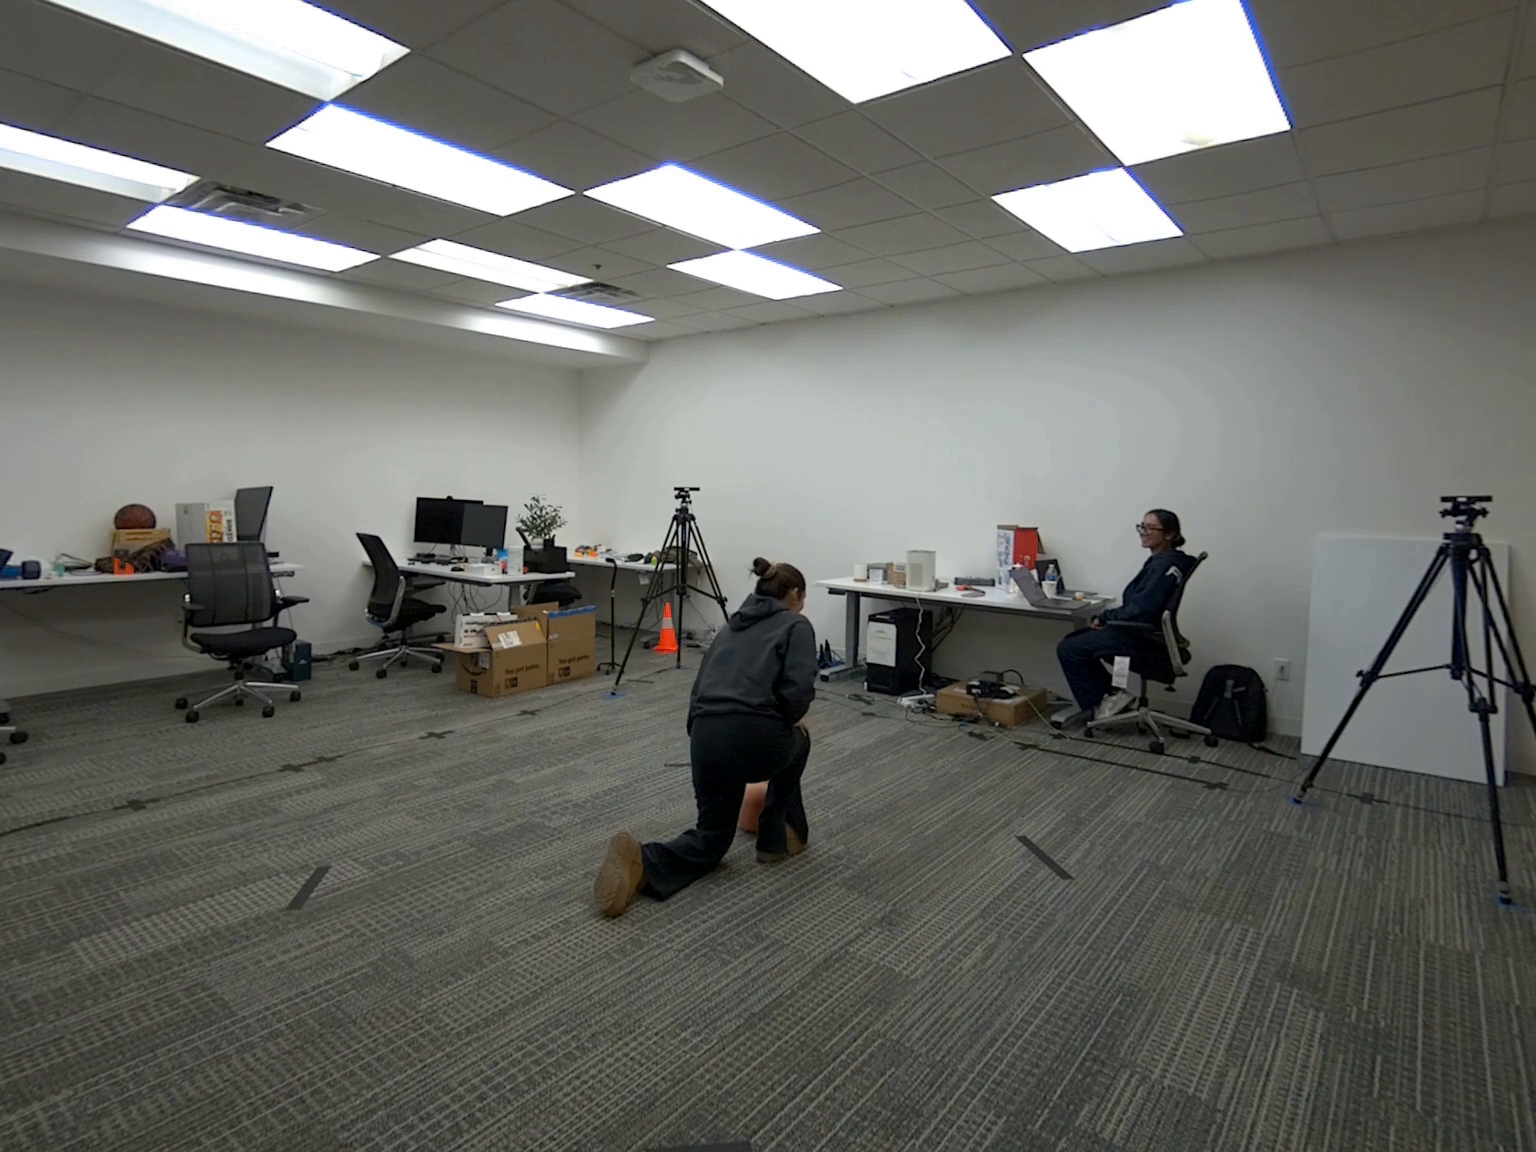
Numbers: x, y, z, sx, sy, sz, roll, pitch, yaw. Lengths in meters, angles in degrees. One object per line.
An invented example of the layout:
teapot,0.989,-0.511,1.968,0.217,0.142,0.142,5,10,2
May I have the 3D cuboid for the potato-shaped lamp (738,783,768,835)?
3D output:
potato-shaped lamp,-0.045,0.932,3.470,0.170,0.198,0.166,4,3,32
